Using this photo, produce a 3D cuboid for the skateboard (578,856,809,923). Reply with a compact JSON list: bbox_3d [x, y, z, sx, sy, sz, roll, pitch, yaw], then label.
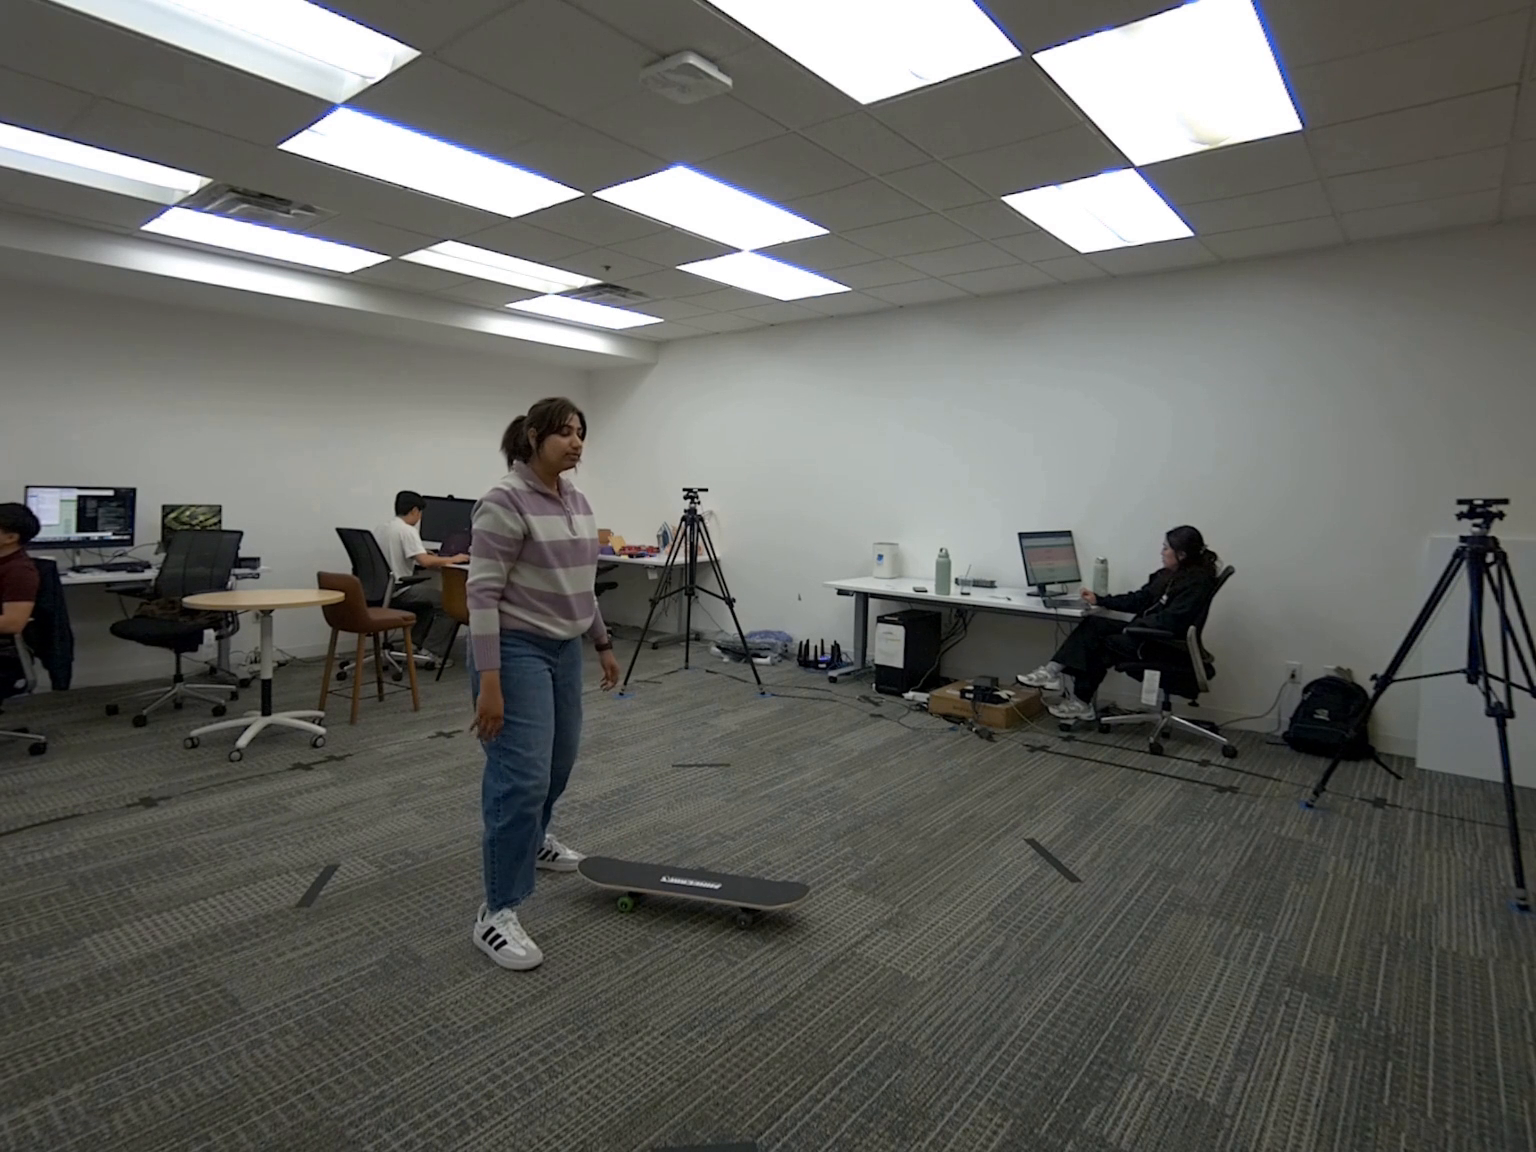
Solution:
[{"bbox_3d":[-0.263,1.039,2.810,0.796,0.110,0.191,2,4,12],"label":"skateboard"}]
